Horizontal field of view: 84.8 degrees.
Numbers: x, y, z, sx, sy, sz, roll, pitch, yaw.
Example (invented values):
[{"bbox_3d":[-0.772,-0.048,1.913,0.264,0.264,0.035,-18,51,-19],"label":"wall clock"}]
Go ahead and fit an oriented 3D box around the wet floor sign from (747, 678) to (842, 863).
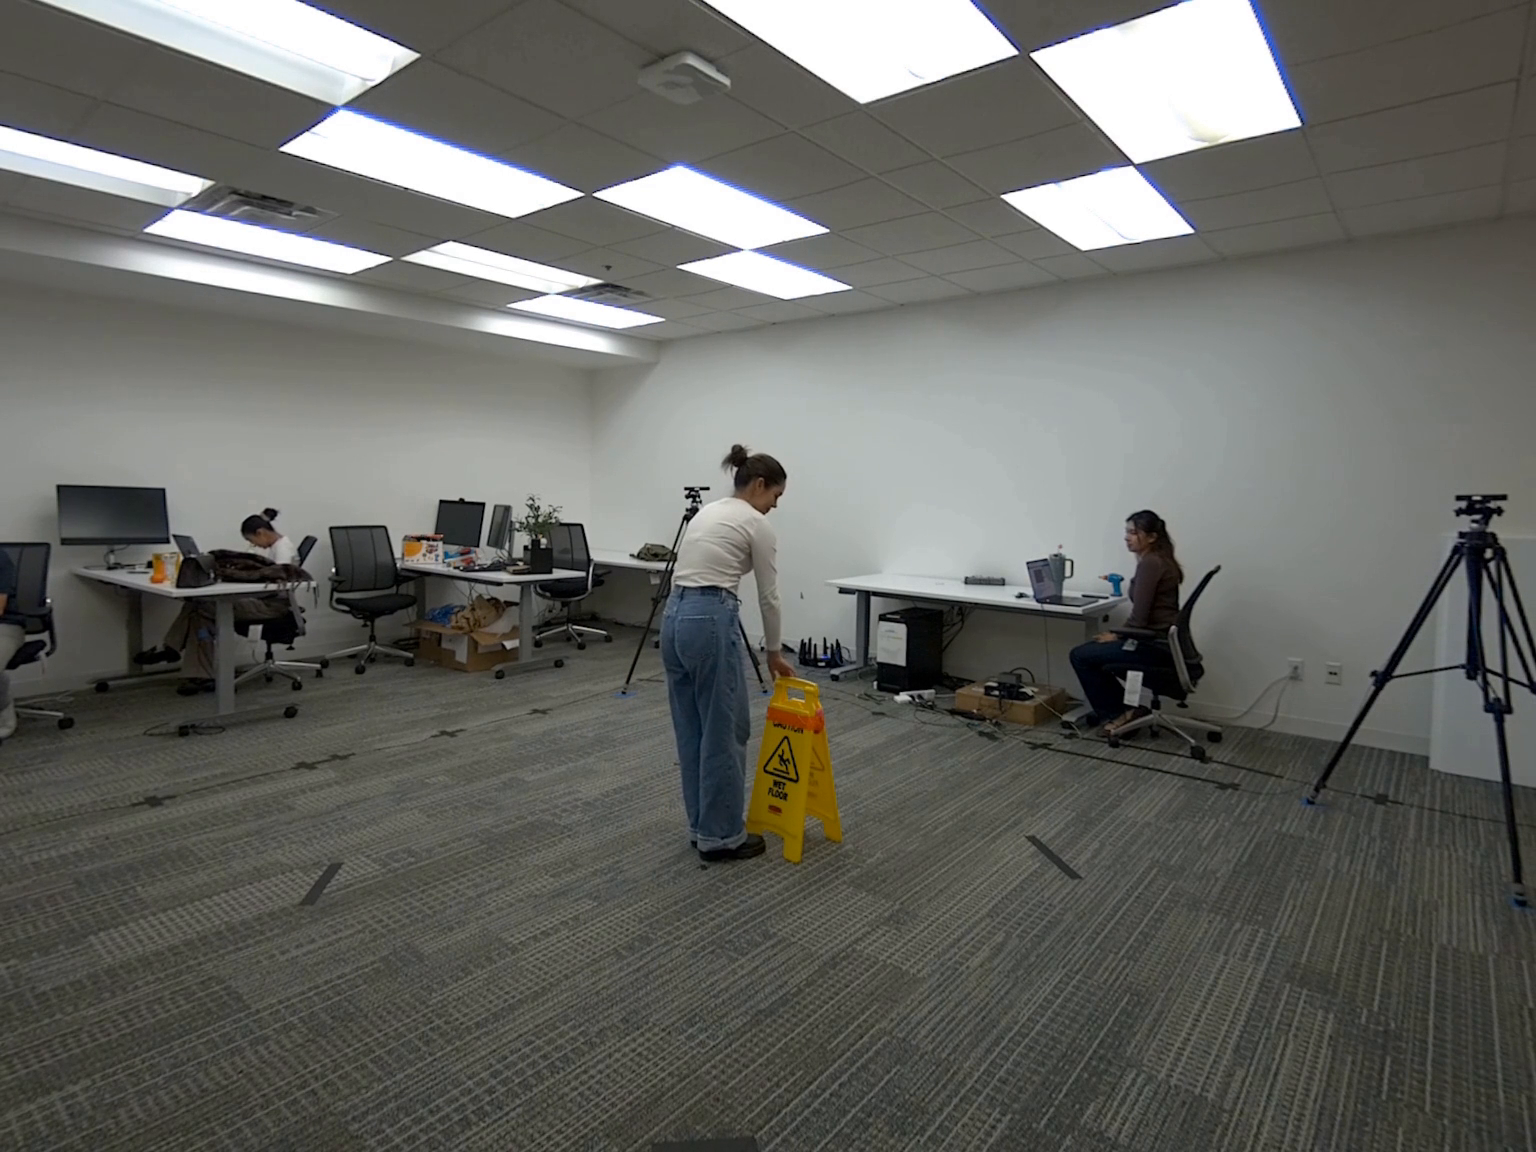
[{"bbox_3d":[0.097,0.727,3.333,0.292,0.644,0.281,4,5,41],"label":"wet floor sign"}]
